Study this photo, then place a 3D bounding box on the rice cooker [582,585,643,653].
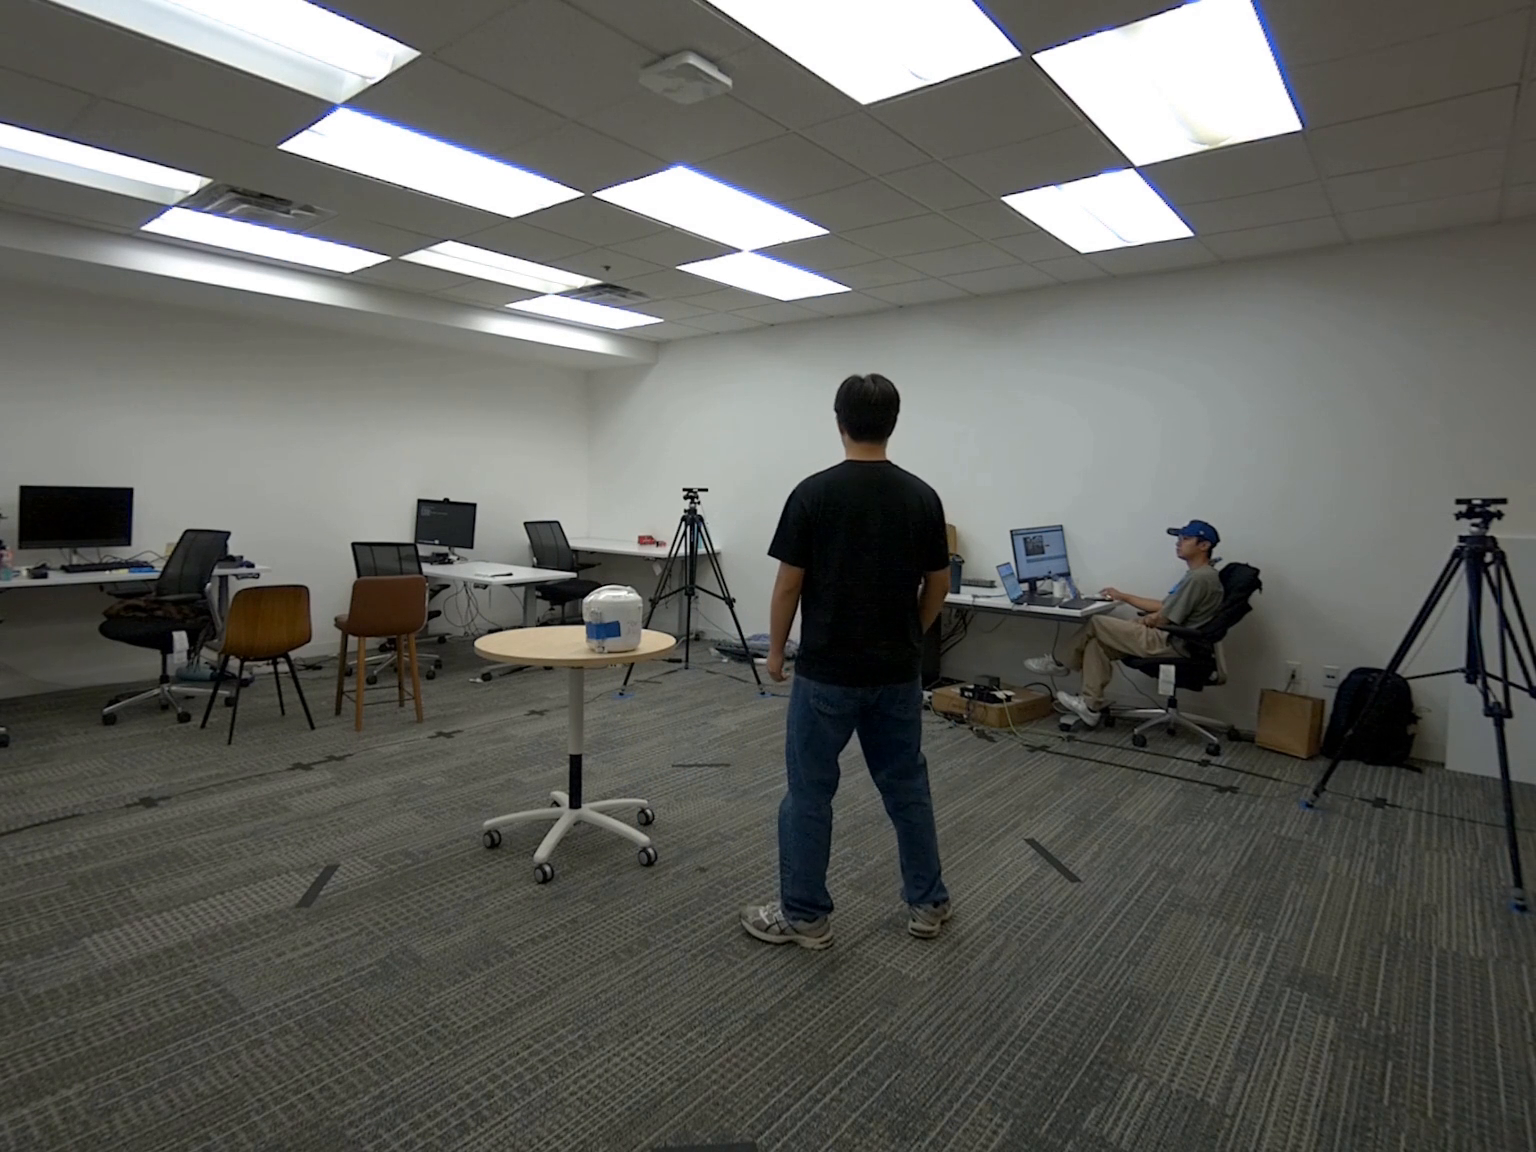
[{"bbox_3d":[-0.579,0.149,3.113,0.215,0.232,0.223,0,5,-24],"label":"rice cooker"}]
